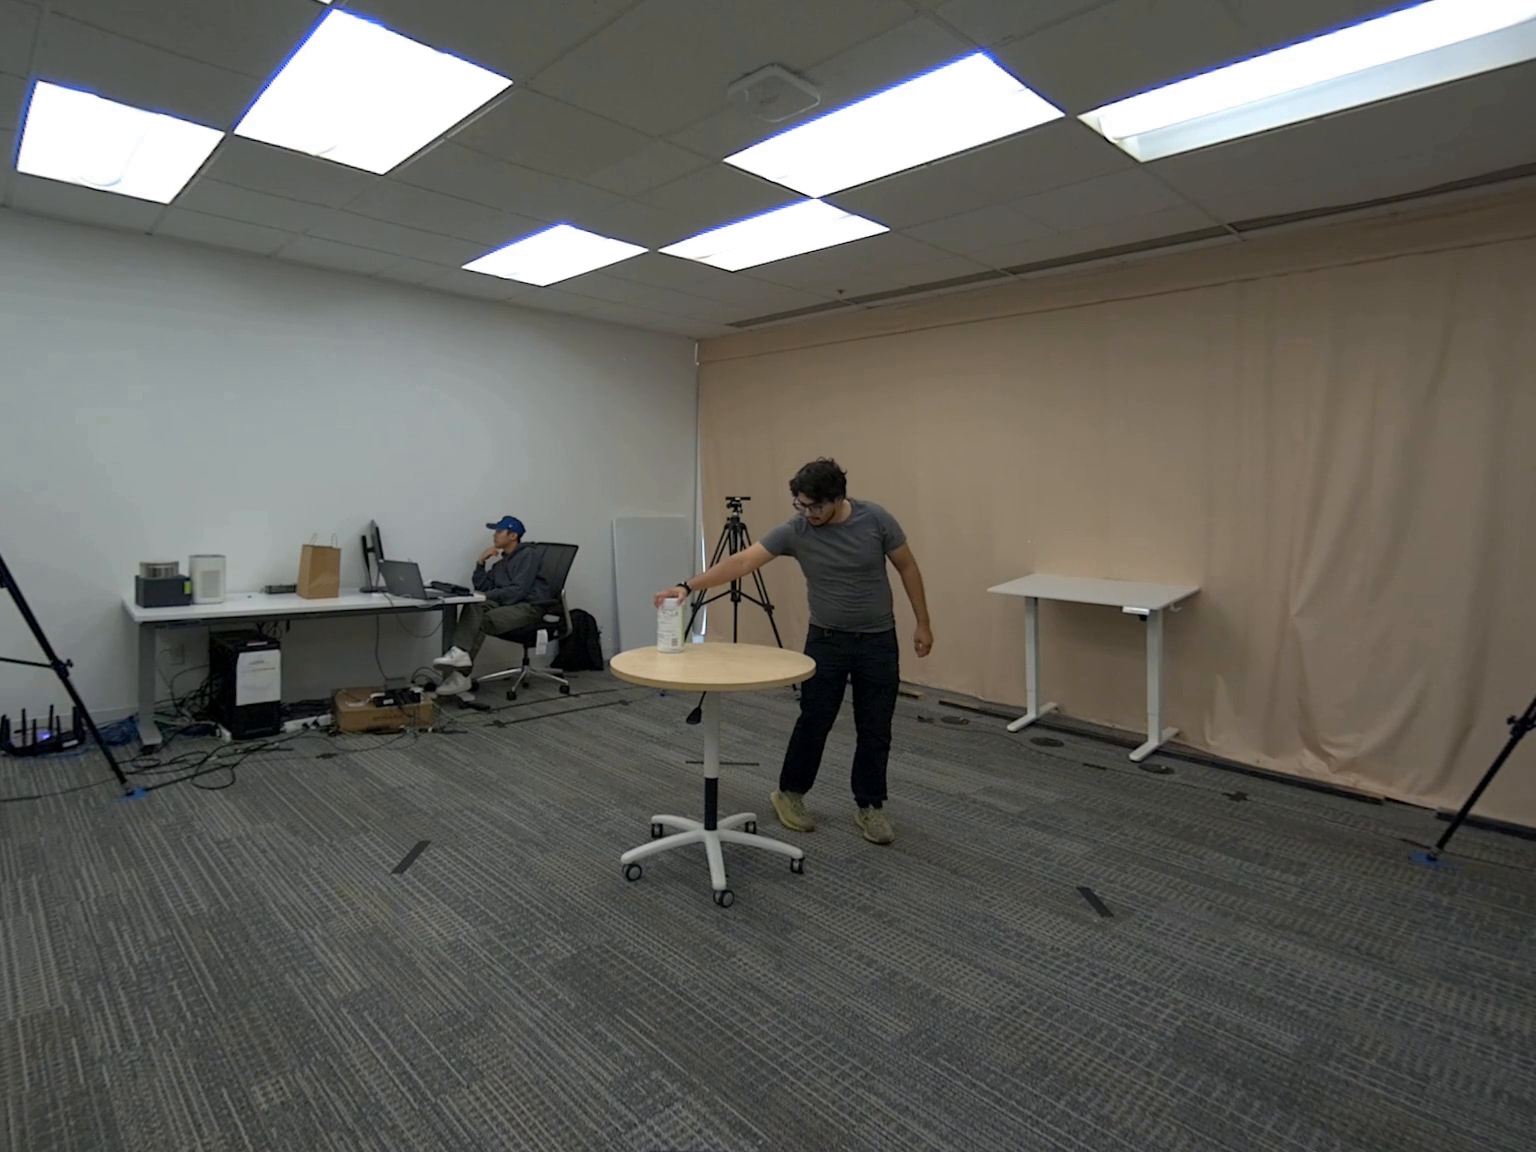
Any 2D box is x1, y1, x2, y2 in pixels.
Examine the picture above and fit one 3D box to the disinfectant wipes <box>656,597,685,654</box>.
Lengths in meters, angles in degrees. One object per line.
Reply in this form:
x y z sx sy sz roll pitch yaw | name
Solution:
-0.390 0.192 3.338 0.118 0.217 0.118 3 1 -1 | disinfectant wipes
